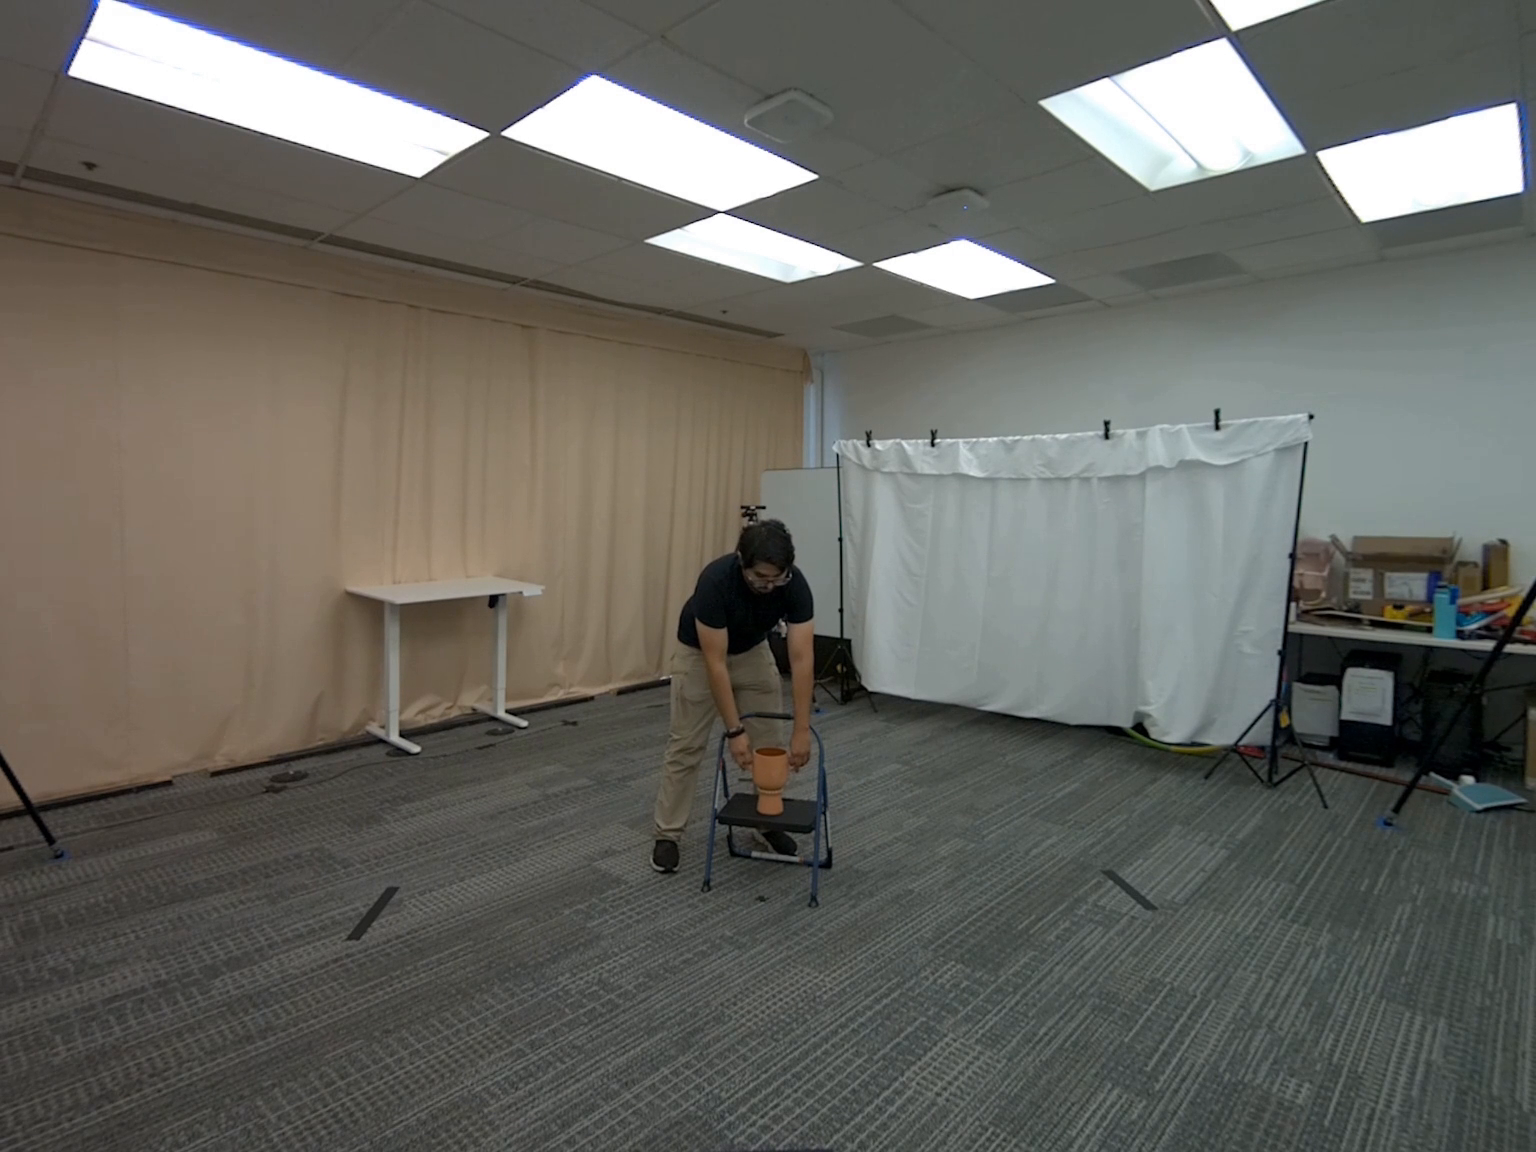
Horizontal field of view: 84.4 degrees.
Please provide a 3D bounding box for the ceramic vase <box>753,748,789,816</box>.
[{"bbox_3d":[0.003,0.758,3.121,0.164,0.219,0.130,2,4,39],"label":"ceramic vase"}]
